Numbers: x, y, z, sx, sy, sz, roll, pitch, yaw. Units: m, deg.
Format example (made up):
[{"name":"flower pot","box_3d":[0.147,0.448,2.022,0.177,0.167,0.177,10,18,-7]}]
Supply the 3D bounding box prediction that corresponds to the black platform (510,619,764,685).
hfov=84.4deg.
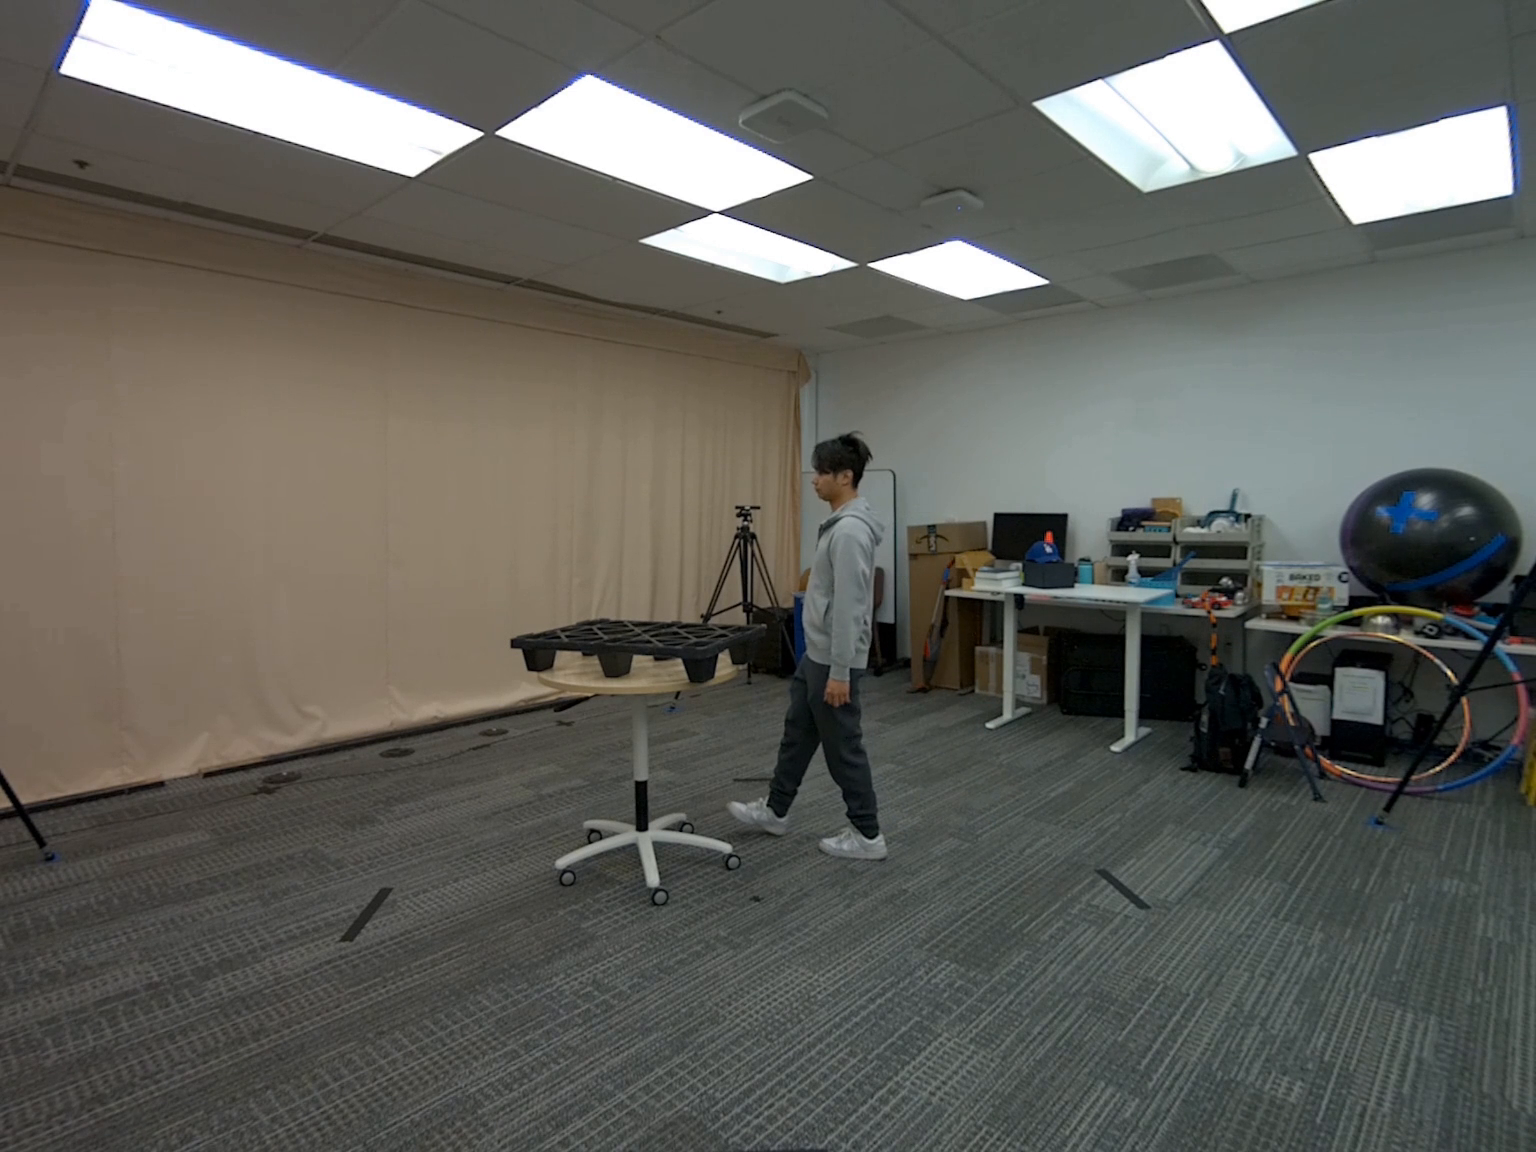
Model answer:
[{"name":"black platform","box_3d":[-0.484,0.279,3.245,0.825,0.143,0.592,1,4,24]}]
